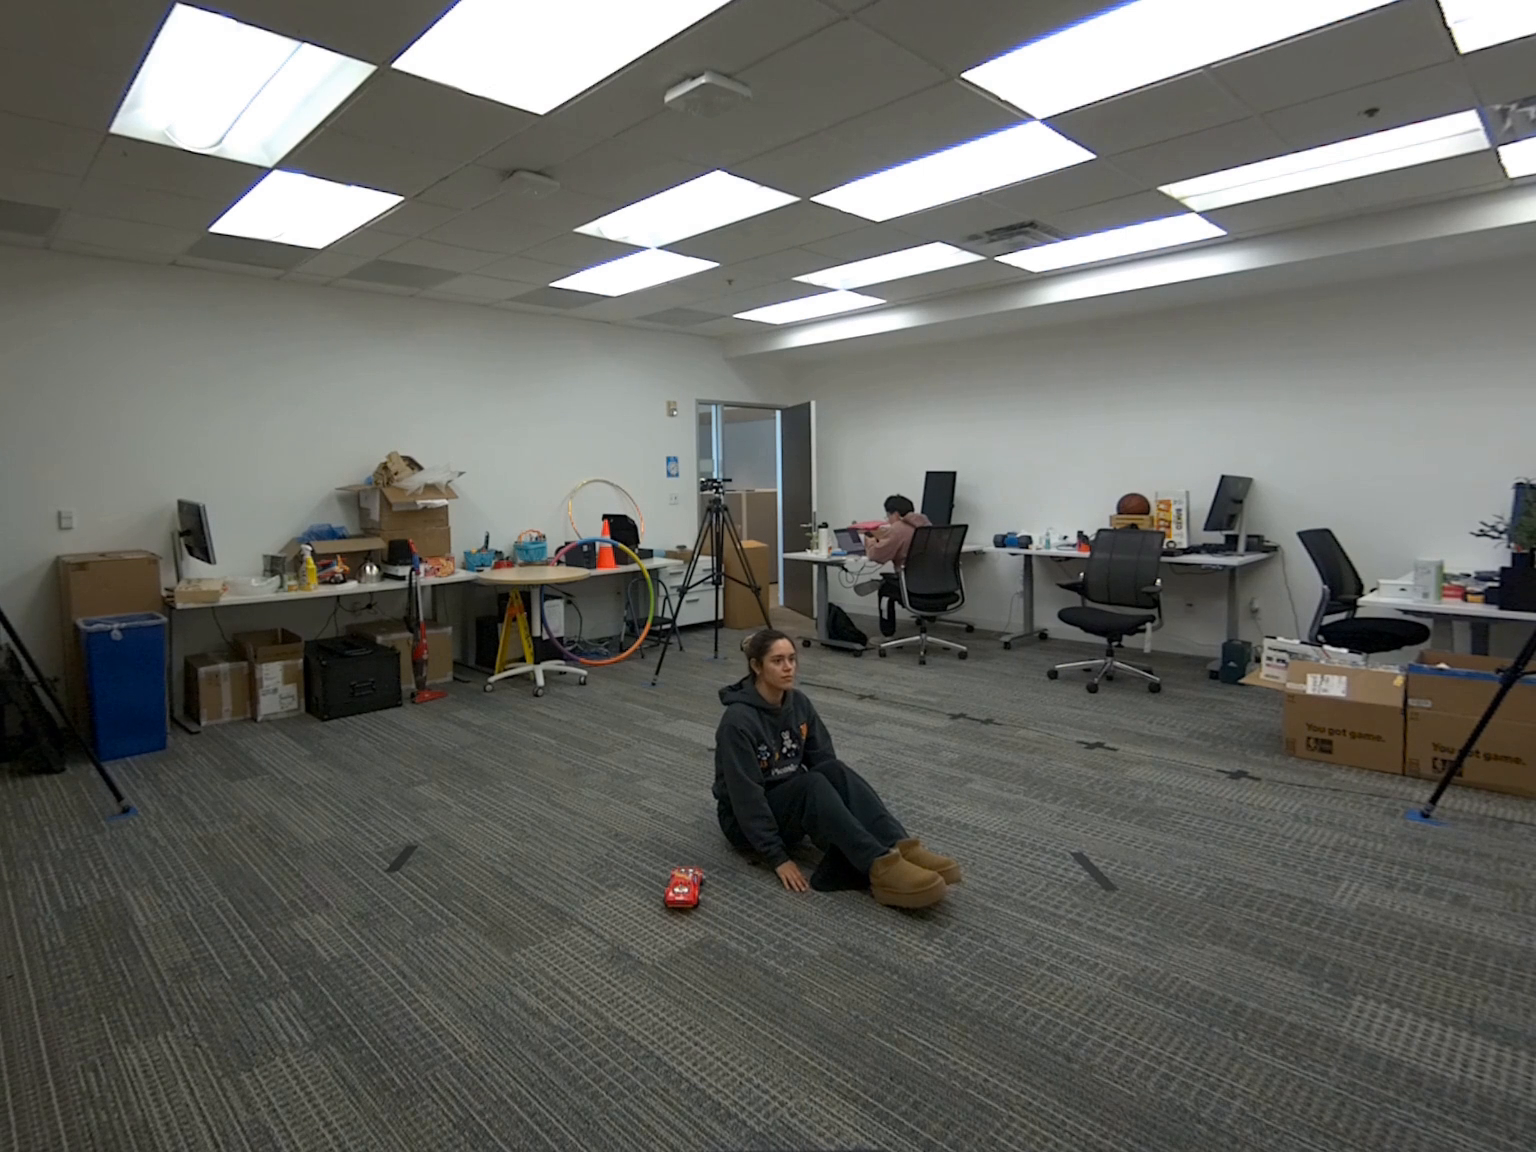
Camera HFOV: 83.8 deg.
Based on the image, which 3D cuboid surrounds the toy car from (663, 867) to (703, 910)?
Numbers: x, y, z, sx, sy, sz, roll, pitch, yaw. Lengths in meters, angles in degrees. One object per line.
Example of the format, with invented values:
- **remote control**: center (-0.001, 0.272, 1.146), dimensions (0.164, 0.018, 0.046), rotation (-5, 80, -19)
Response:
- **toy car**: center (-0.281, 1.046, 2.844), dimensions (0.131, 0.084, 0.252), rotation (0, -6, 2)
